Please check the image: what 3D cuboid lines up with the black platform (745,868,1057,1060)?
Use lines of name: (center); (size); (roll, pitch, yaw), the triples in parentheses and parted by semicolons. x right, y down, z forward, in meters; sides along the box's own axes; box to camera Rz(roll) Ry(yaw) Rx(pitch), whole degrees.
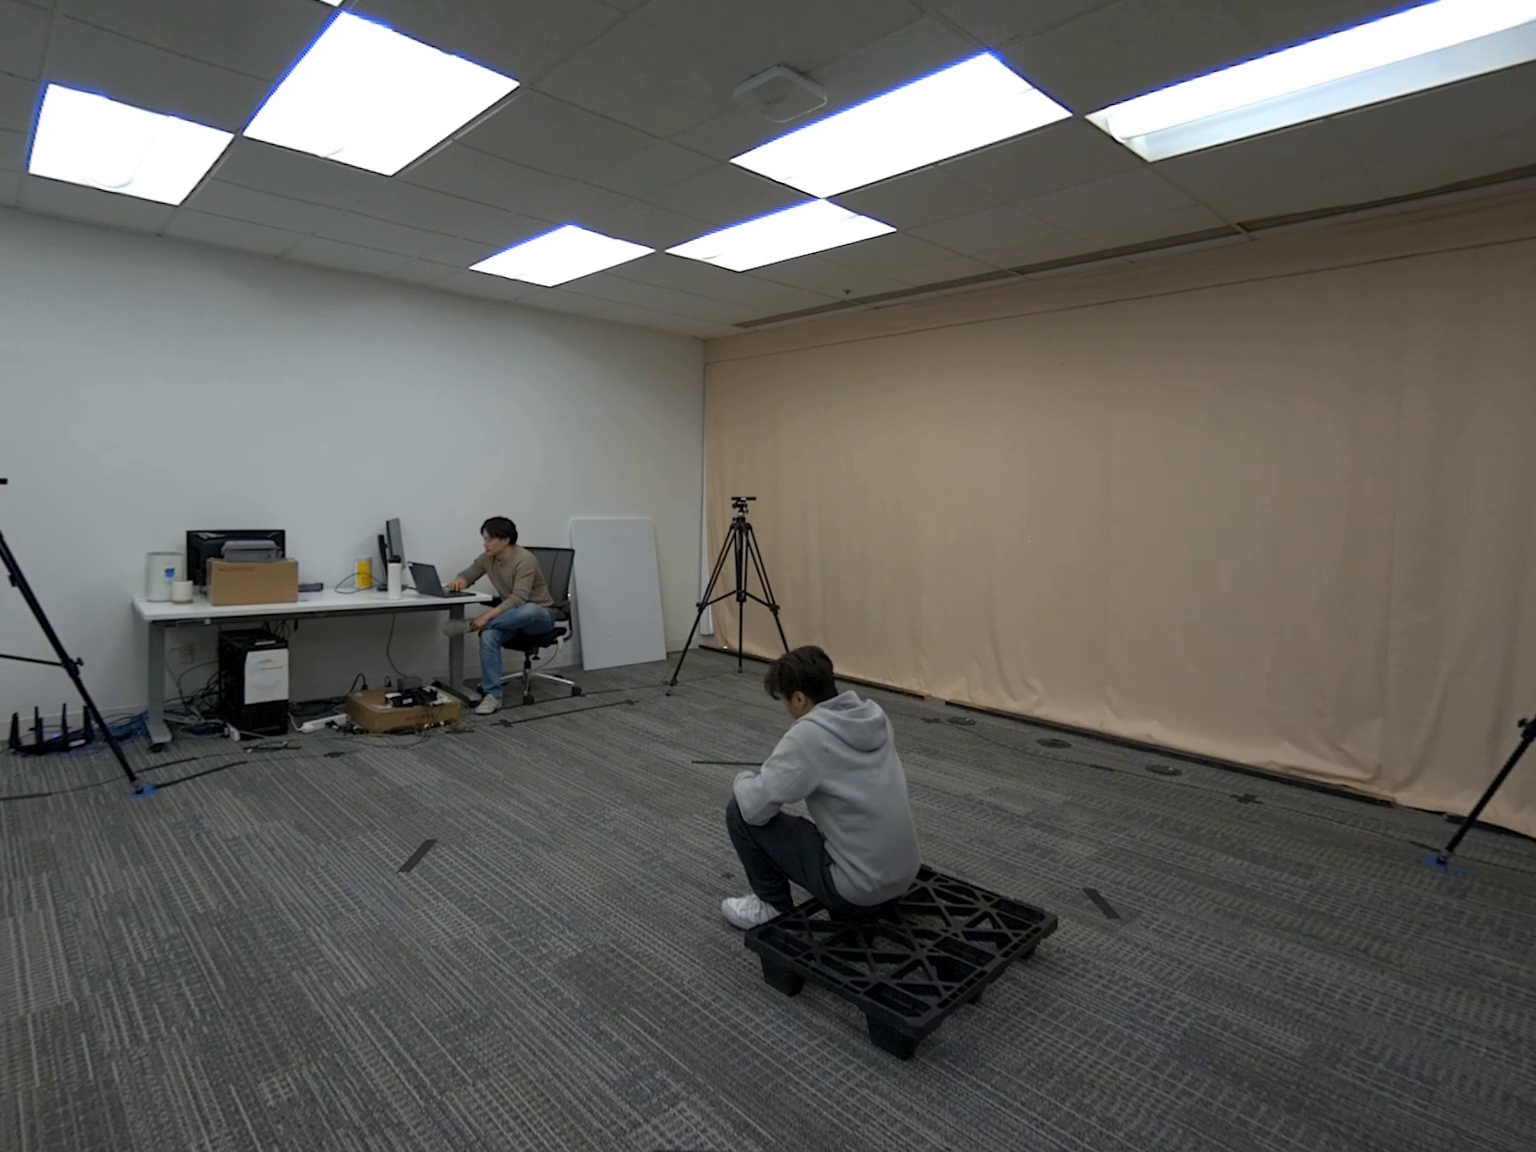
black platform: (0.400, 1.108, 2.517); (0.620, 0.143, 0.787); (6, 6, 43)
